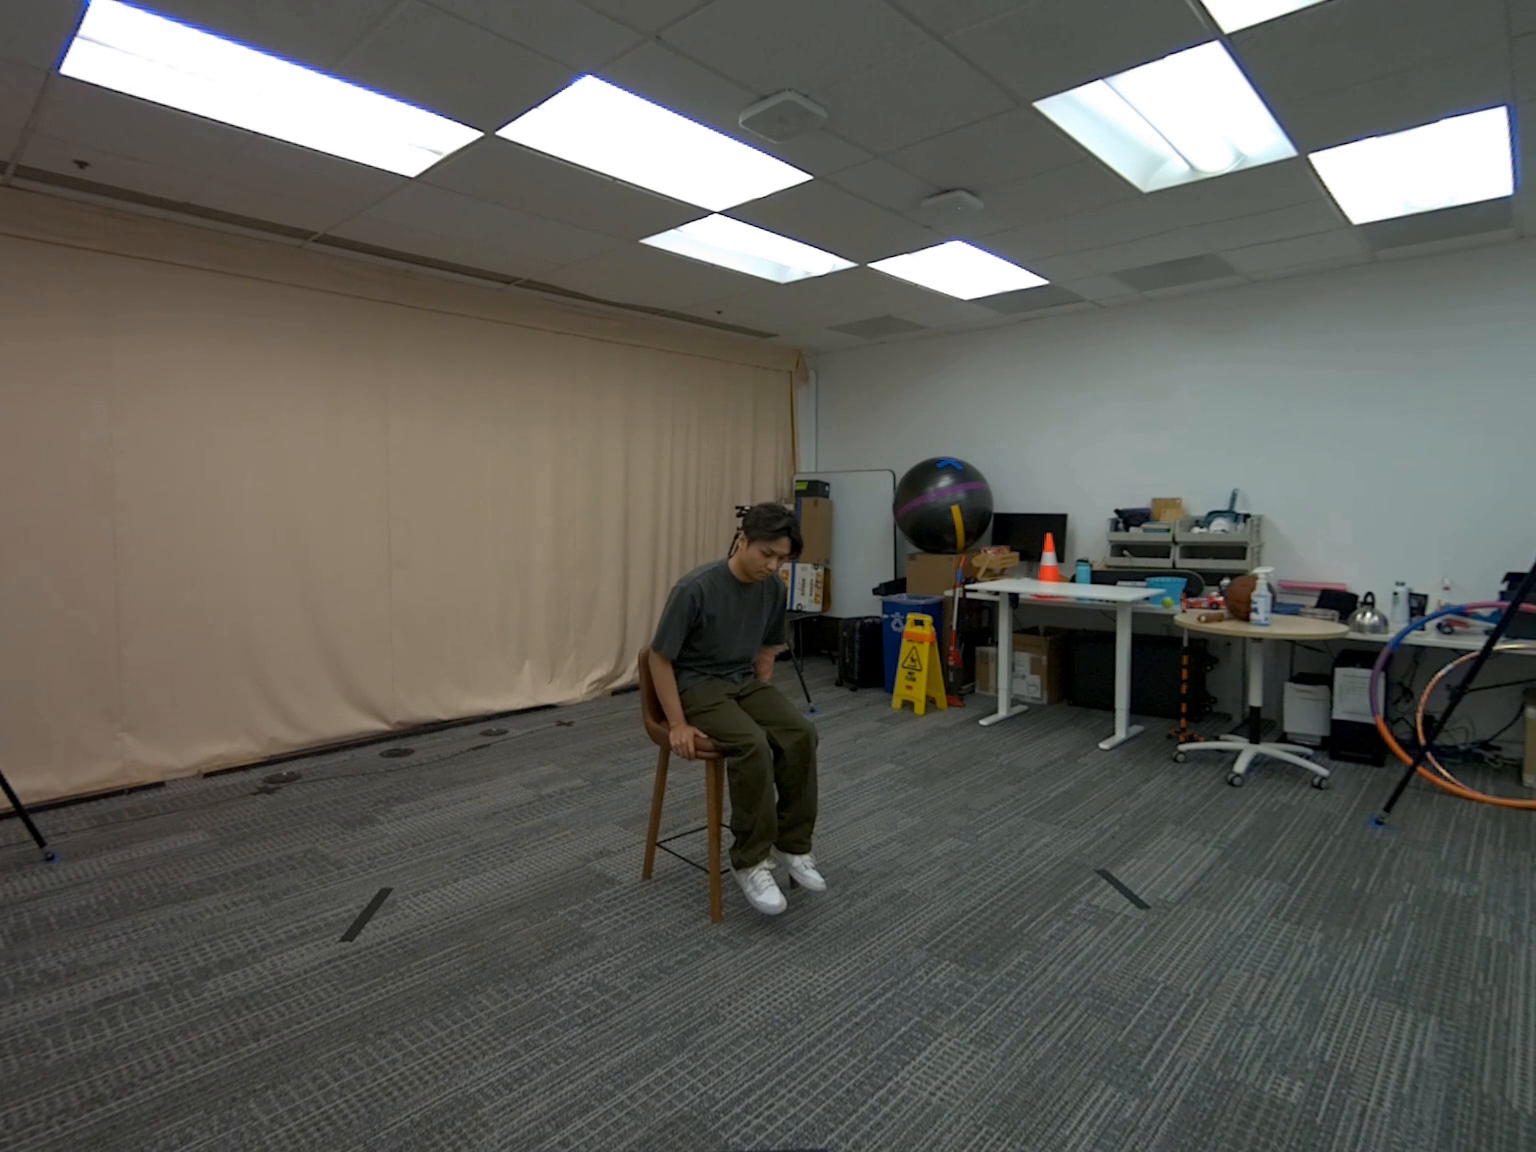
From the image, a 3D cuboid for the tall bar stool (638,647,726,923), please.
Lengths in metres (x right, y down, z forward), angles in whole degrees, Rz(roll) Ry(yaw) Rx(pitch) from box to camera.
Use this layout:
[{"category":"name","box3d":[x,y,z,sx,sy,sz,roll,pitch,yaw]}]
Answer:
[{"category":"tall bar stool","box3d":[-0.197,0.700,3.098,0.442,0.889,0.482,-3,2,-43]}]
